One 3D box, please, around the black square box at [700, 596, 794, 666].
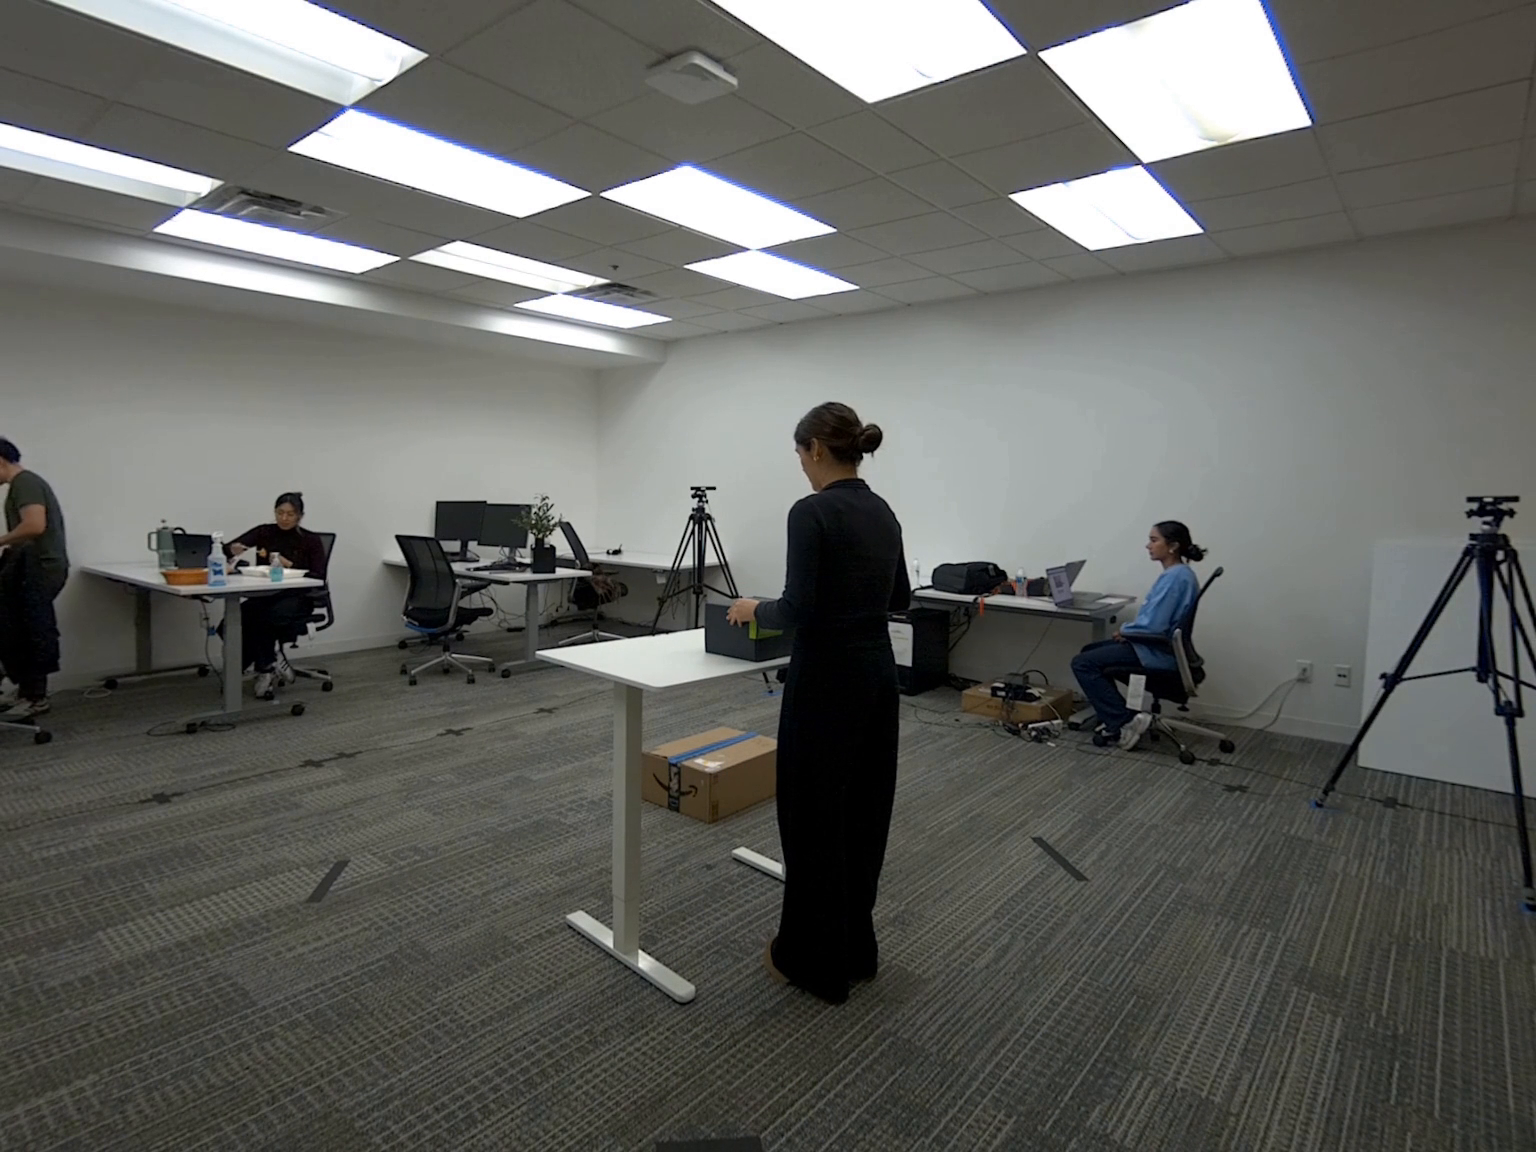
[{"bbox_3d":[-0.054,0.164,2.611,0.224,0.155,0.221,5,8,43],"label":"black square box"}]
